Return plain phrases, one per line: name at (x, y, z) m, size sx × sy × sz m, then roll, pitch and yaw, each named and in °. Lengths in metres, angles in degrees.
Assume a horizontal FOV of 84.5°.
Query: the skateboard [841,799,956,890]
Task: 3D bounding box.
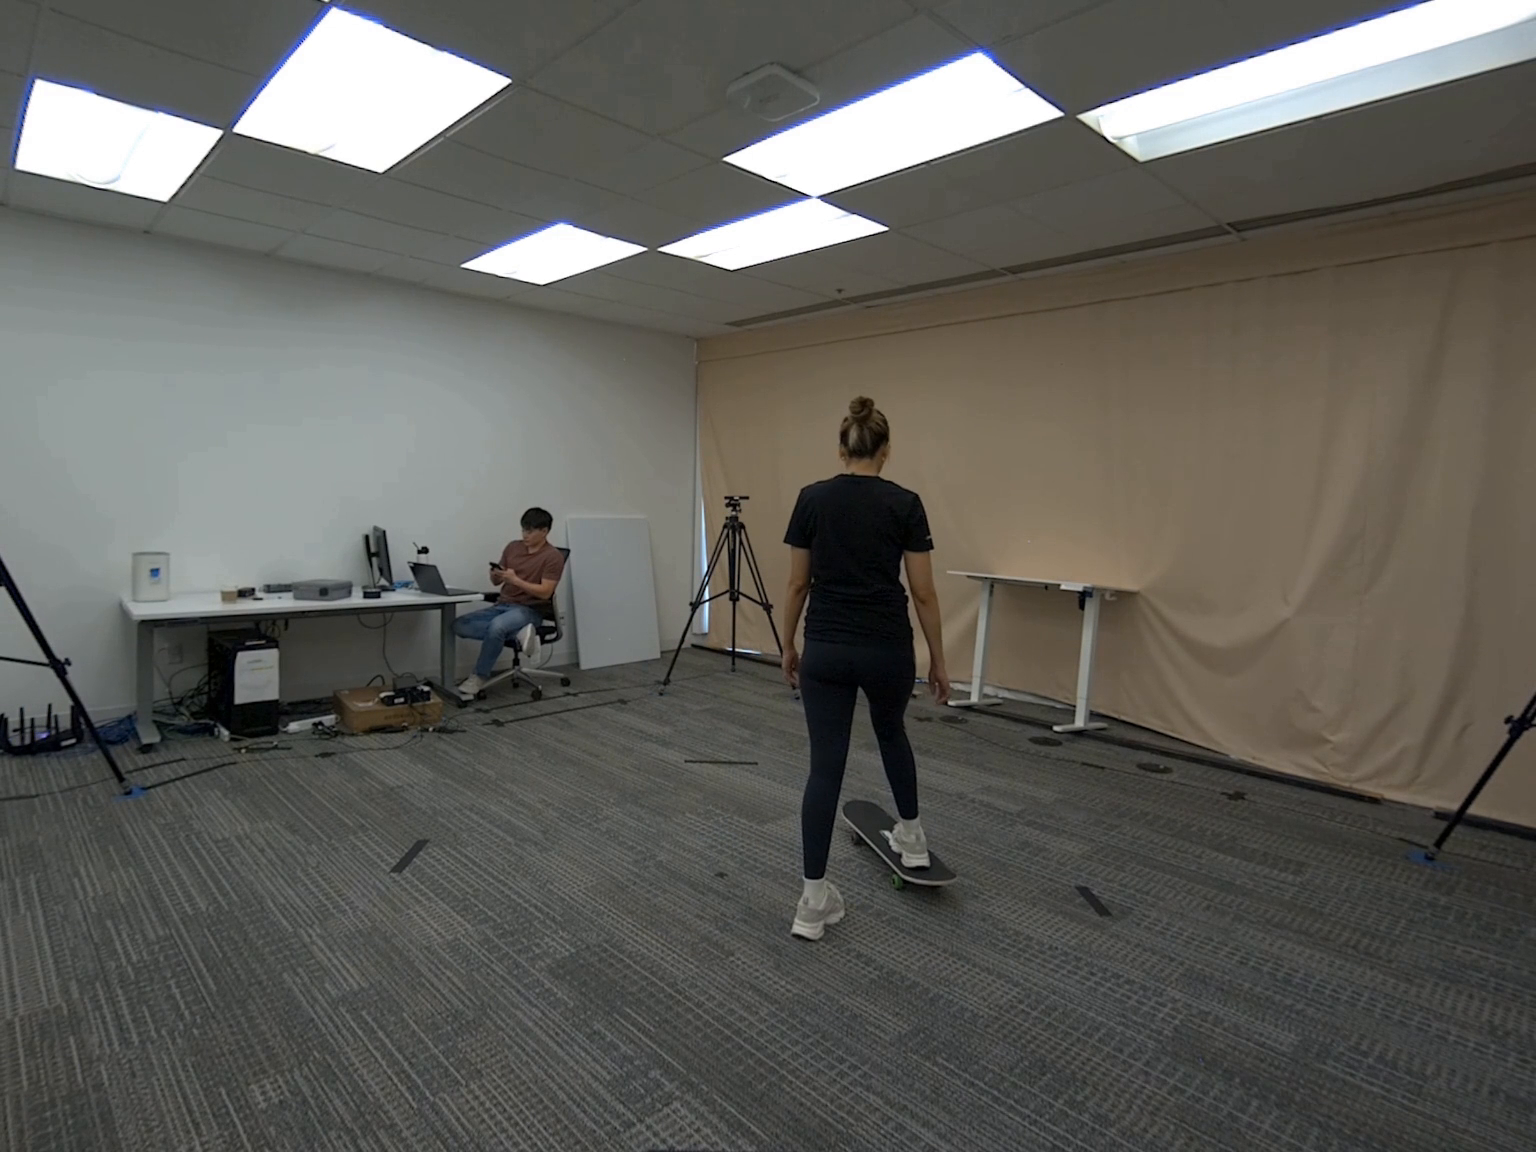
skateboard at (0.476, 1.055, 3.240) m, size 0.191 × 0.110 × 0.796 m, roll 0°, pitch 5°, yaw -15°
